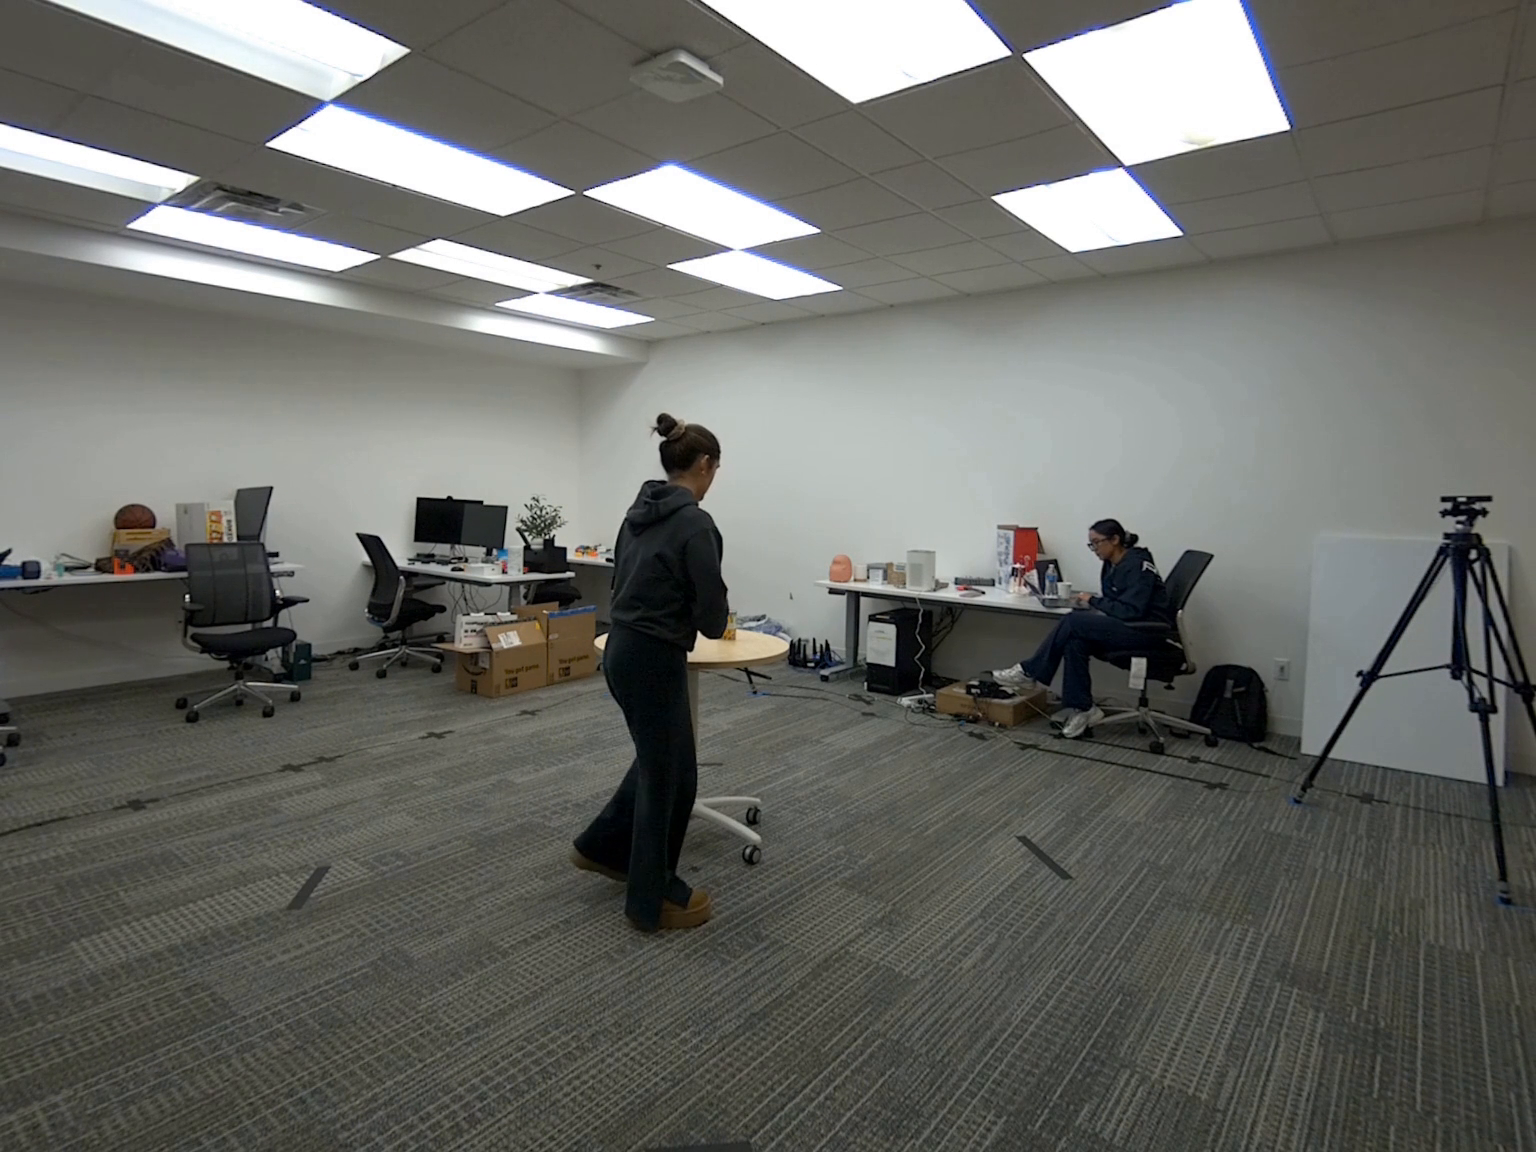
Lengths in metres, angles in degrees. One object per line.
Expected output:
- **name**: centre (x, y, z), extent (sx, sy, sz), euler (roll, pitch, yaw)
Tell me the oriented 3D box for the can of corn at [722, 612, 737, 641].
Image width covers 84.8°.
- **can of corn**: centre (-0.166, 0.193, 3.443), extent (0.074, 0.111, 0.074), euler (1, 3, -2)
